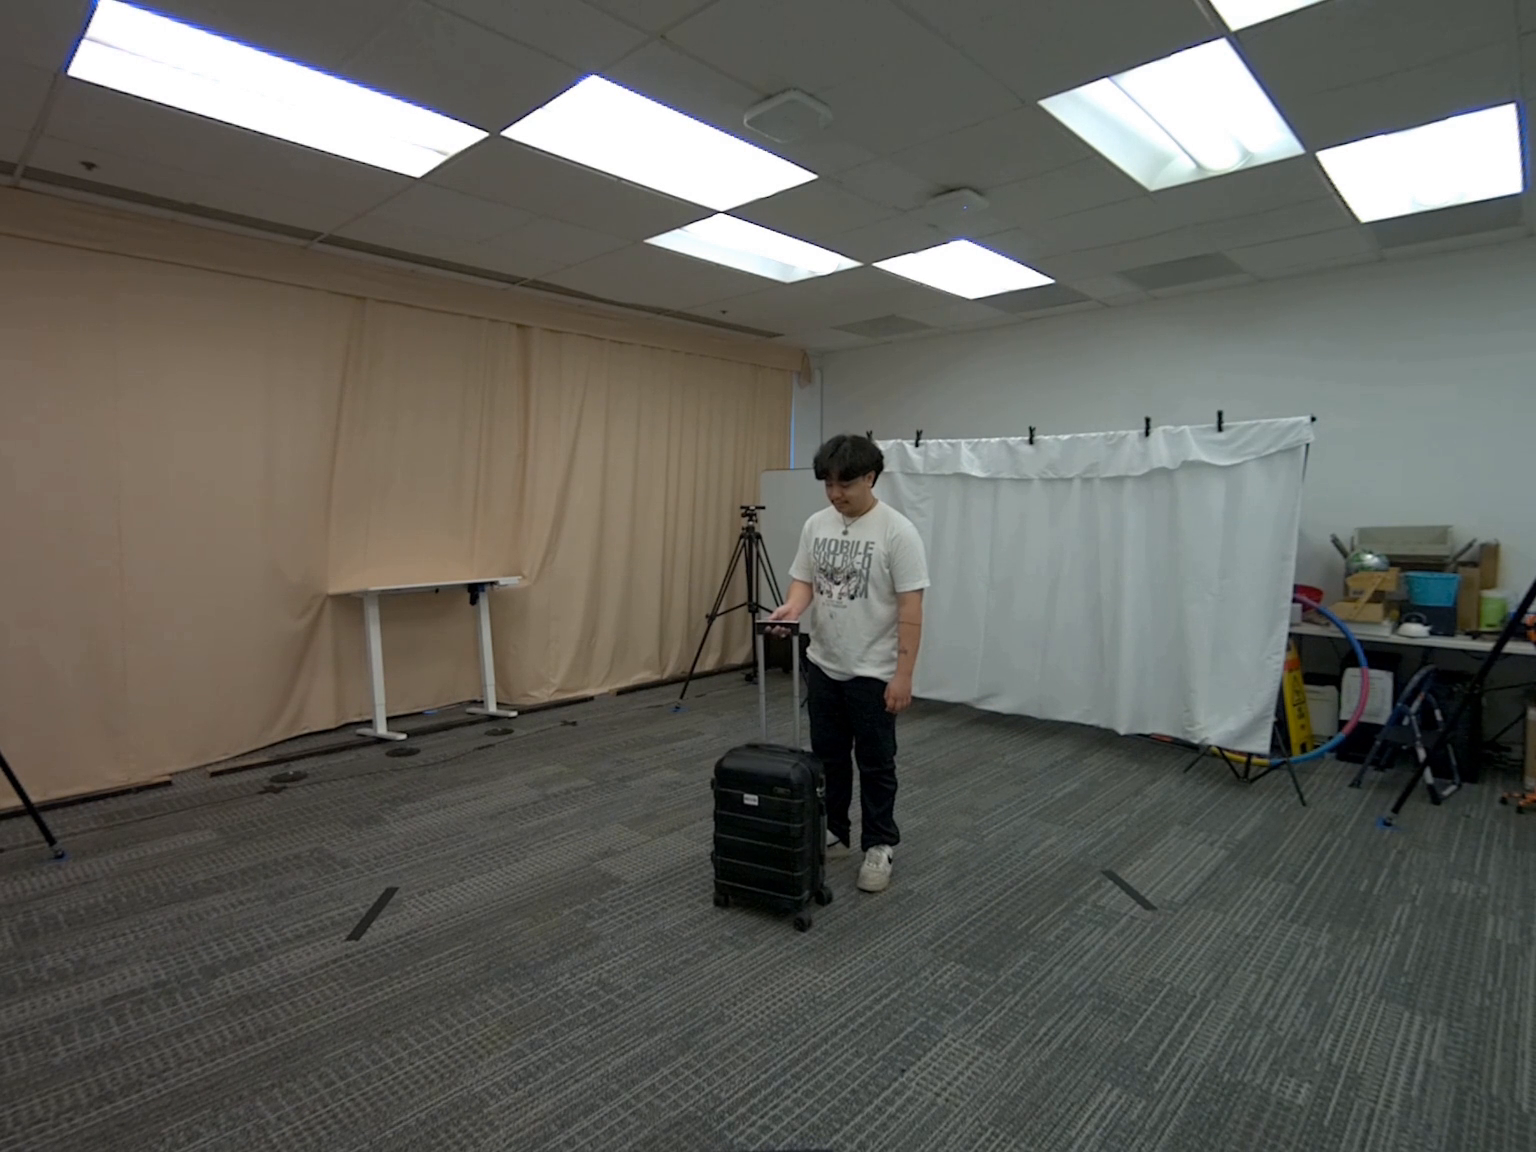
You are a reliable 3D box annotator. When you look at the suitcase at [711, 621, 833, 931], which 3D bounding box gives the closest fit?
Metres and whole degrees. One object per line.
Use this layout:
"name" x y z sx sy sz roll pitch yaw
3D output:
"suitcase" 0.005 0.678 2.910 0.394 0.976 0.251 0 4 28
